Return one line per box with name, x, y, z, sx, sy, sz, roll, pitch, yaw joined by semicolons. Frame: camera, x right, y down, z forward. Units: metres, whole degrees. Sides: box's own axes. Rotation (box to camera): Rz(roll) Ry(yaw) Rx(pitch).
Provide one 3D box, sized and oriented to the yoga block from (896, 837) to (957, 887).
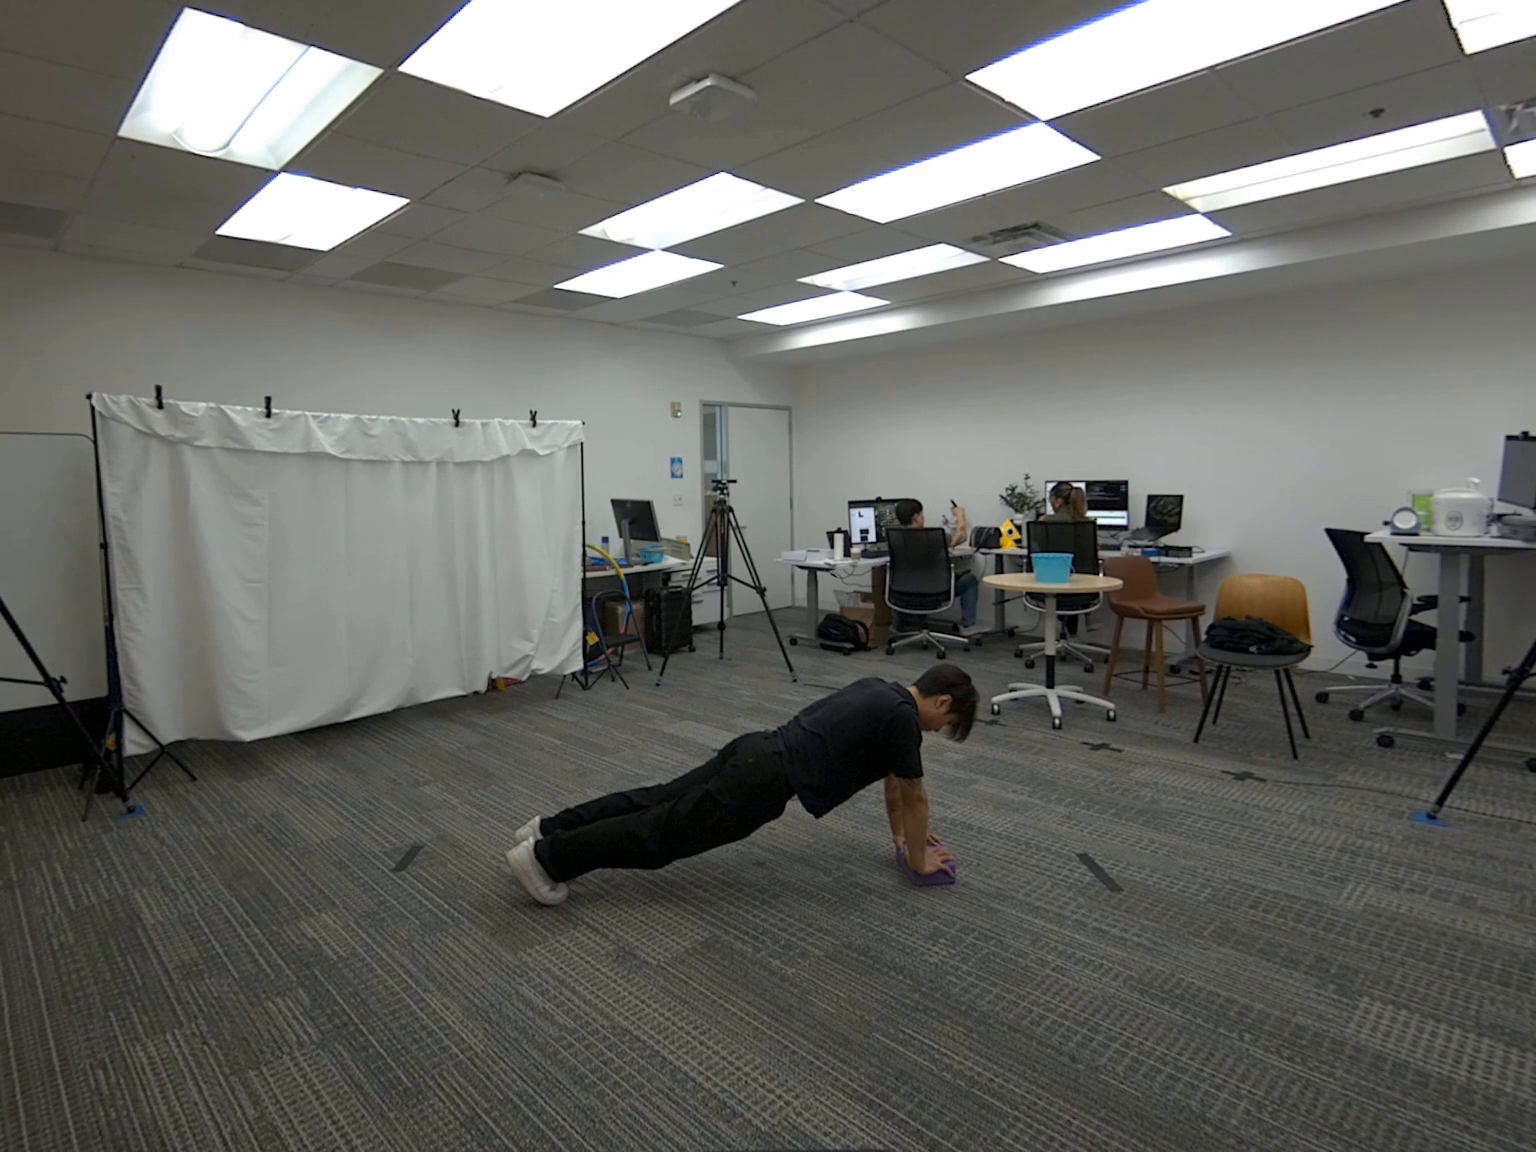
yoga block;0.555;1.003;3.023;0.148;0.076;0.232;-2;6;-7
